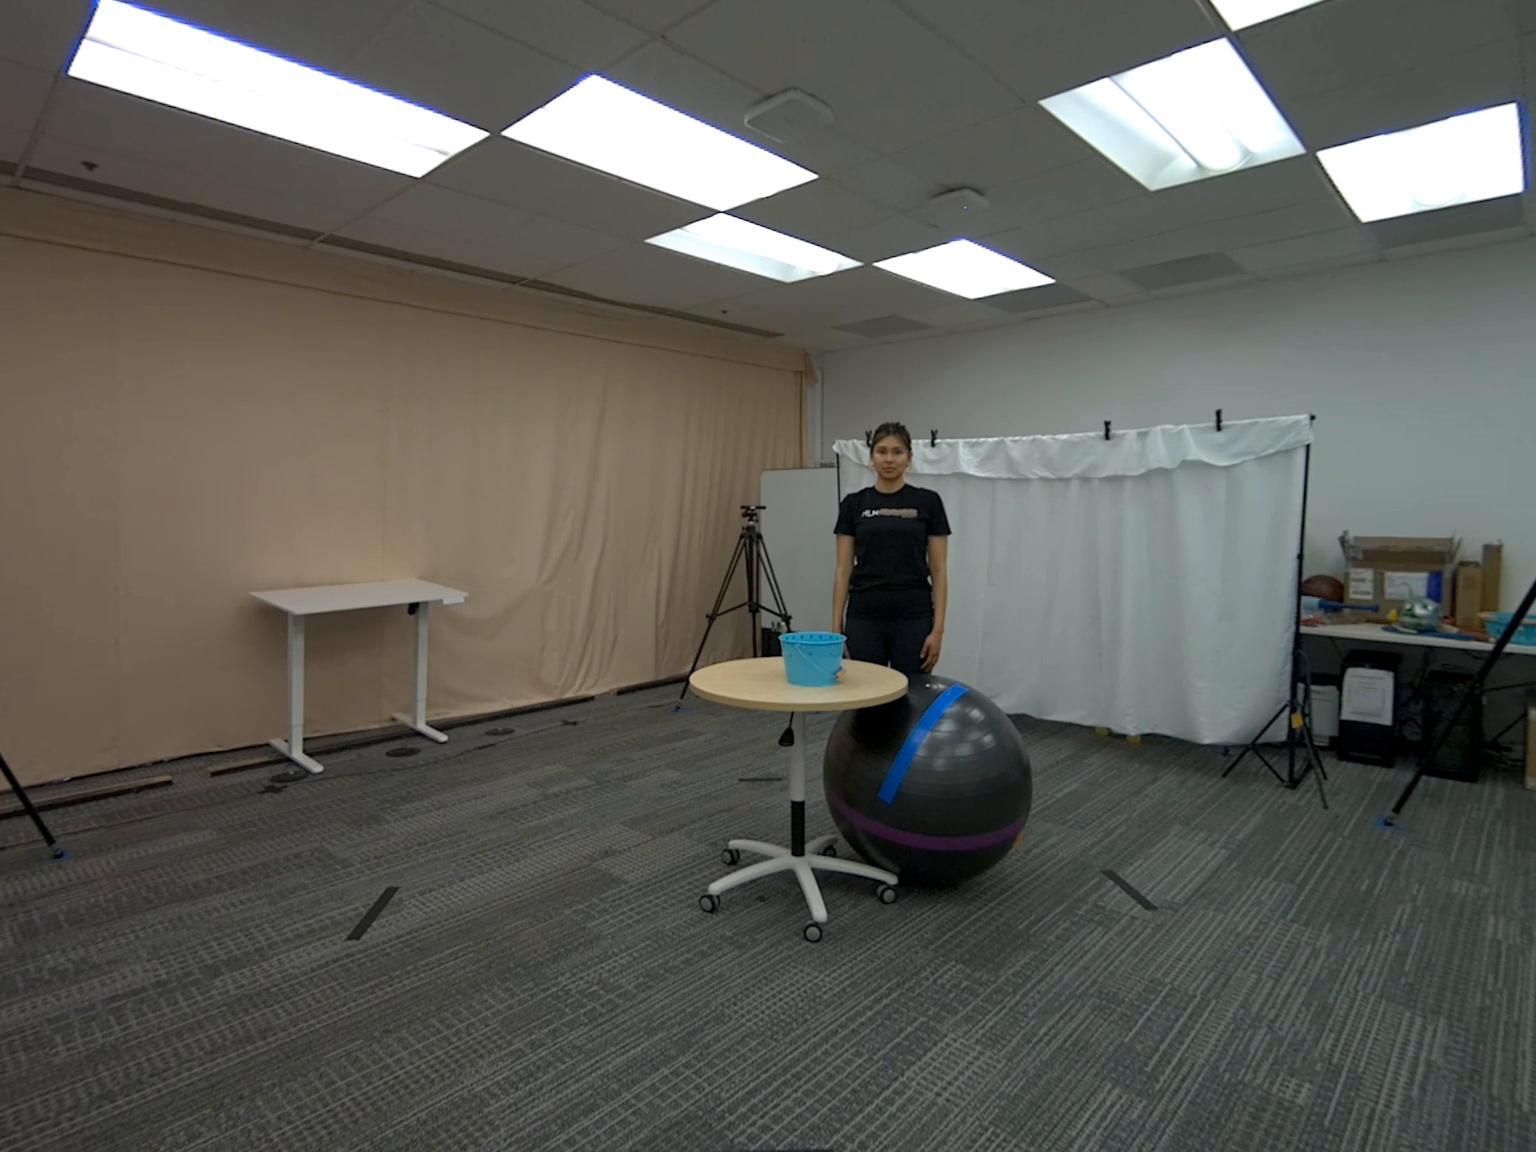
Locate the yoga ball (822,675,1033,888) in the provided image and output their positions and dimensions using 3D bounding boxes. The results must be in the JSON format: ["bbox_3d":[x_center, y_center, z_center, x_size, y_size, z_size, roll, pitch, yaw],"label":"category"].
[{"bbox_3d":[0.603,0.765,3.153,0.757,0.756,0.761,0,4,-2],"label":"yoga ball"}]
